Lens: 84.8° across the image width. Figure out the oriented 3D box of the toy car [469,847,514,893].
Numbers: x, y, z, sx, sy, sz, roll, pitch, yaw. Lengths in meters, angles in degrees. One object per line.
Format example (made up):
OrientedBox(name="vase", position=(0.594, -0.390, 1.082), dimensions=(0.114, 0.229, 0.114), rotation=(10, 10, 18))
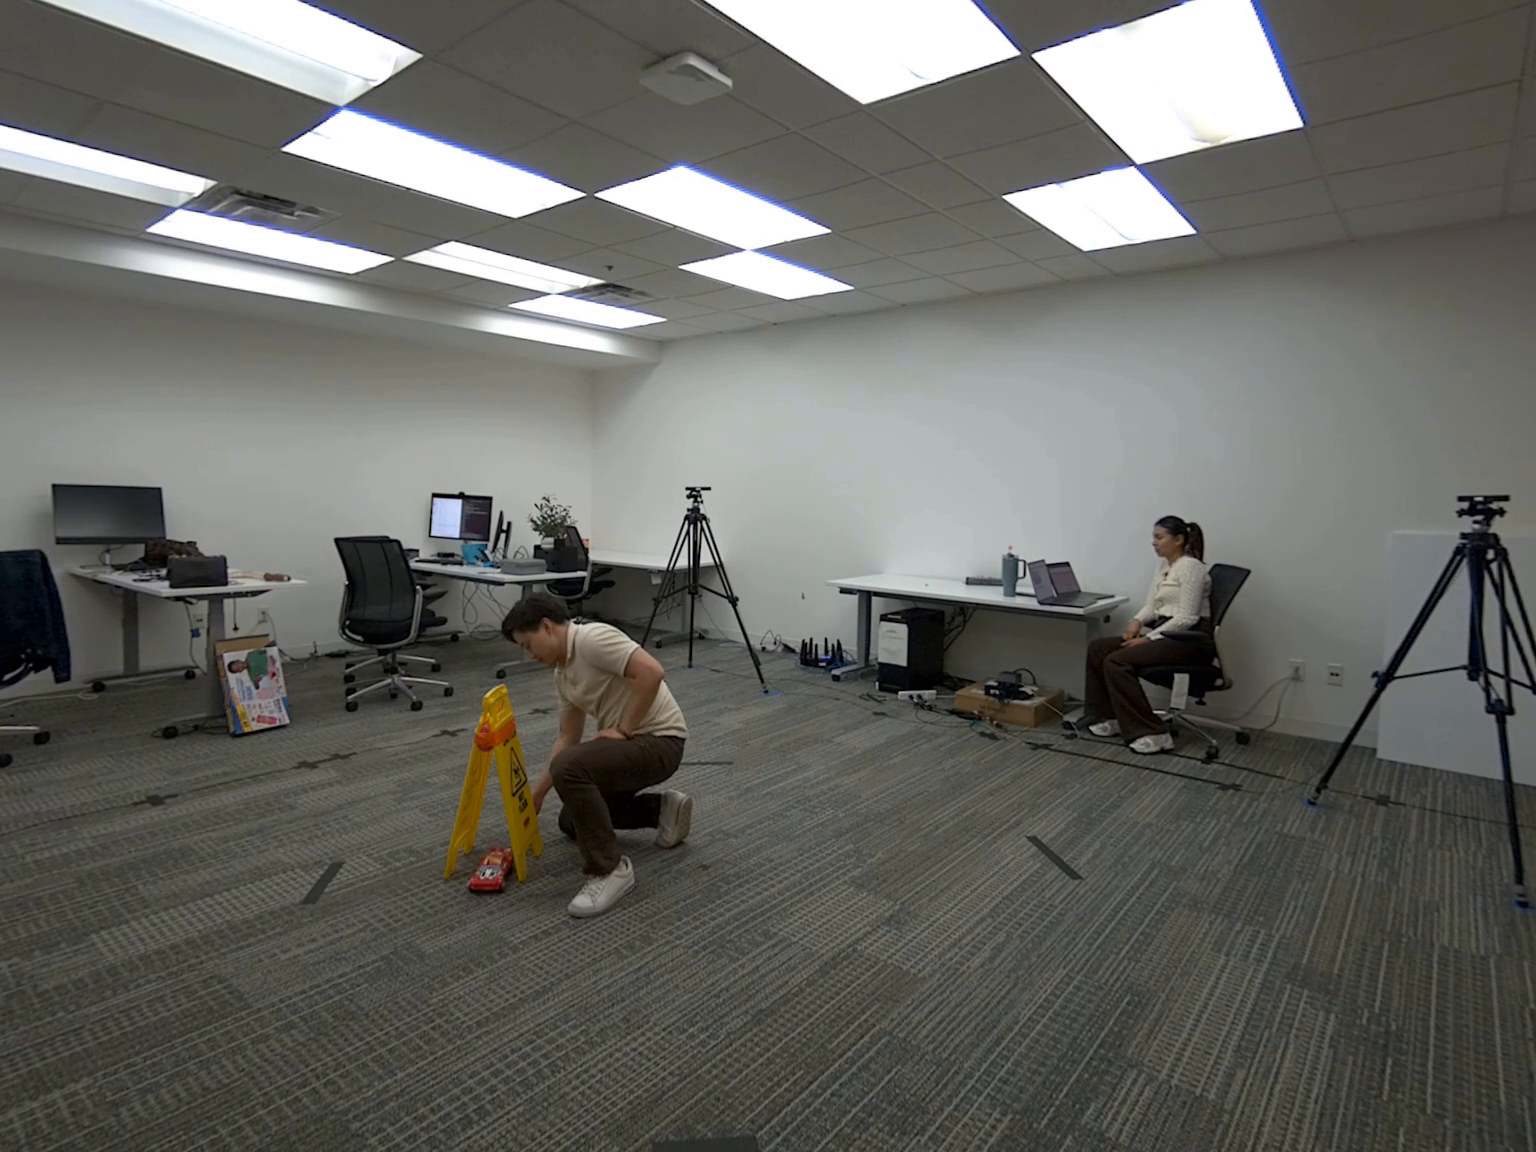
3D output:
OrientedBox(name="toy car", position=(-0.994, 1.037, 3.023), dimensions=(0.130, 0.082, 0.259), rotation=(1, 16, -4))
